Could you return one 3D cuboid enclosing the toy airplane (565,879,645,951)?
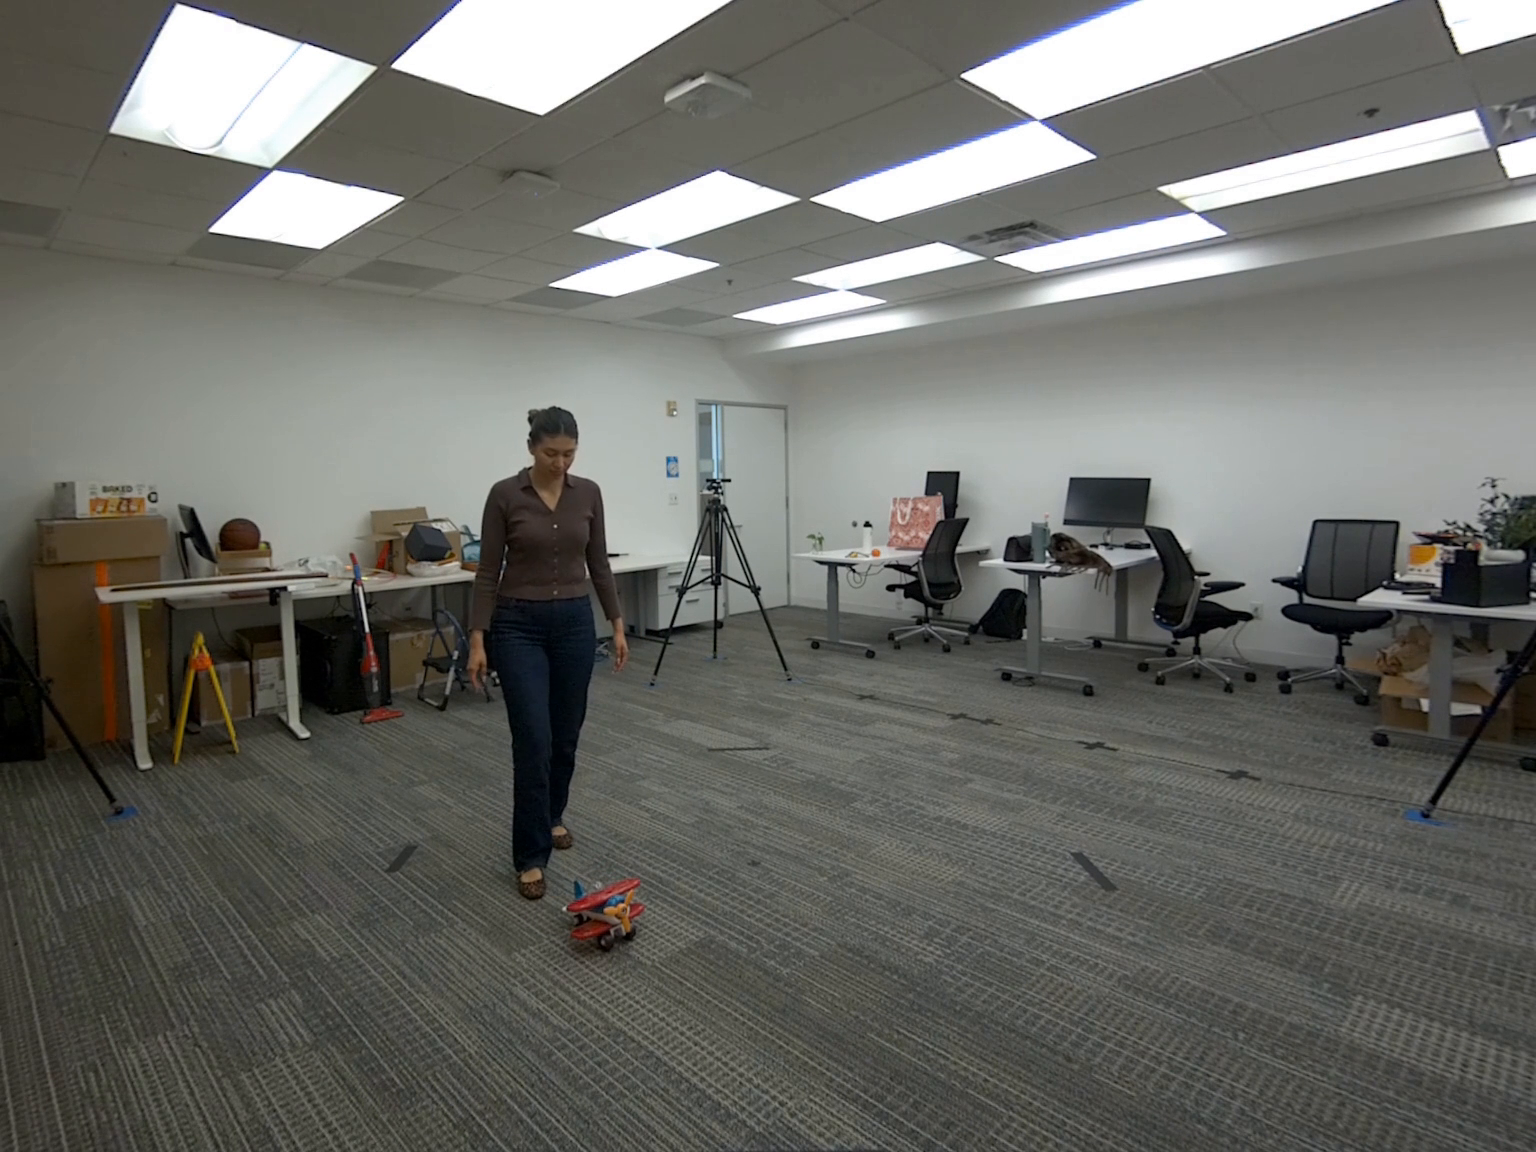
[{"bbox_3d":[-0.524,1.032,2.623,0.264,0.155,0.248,2,7,17],"label":"toy airplane"}]
